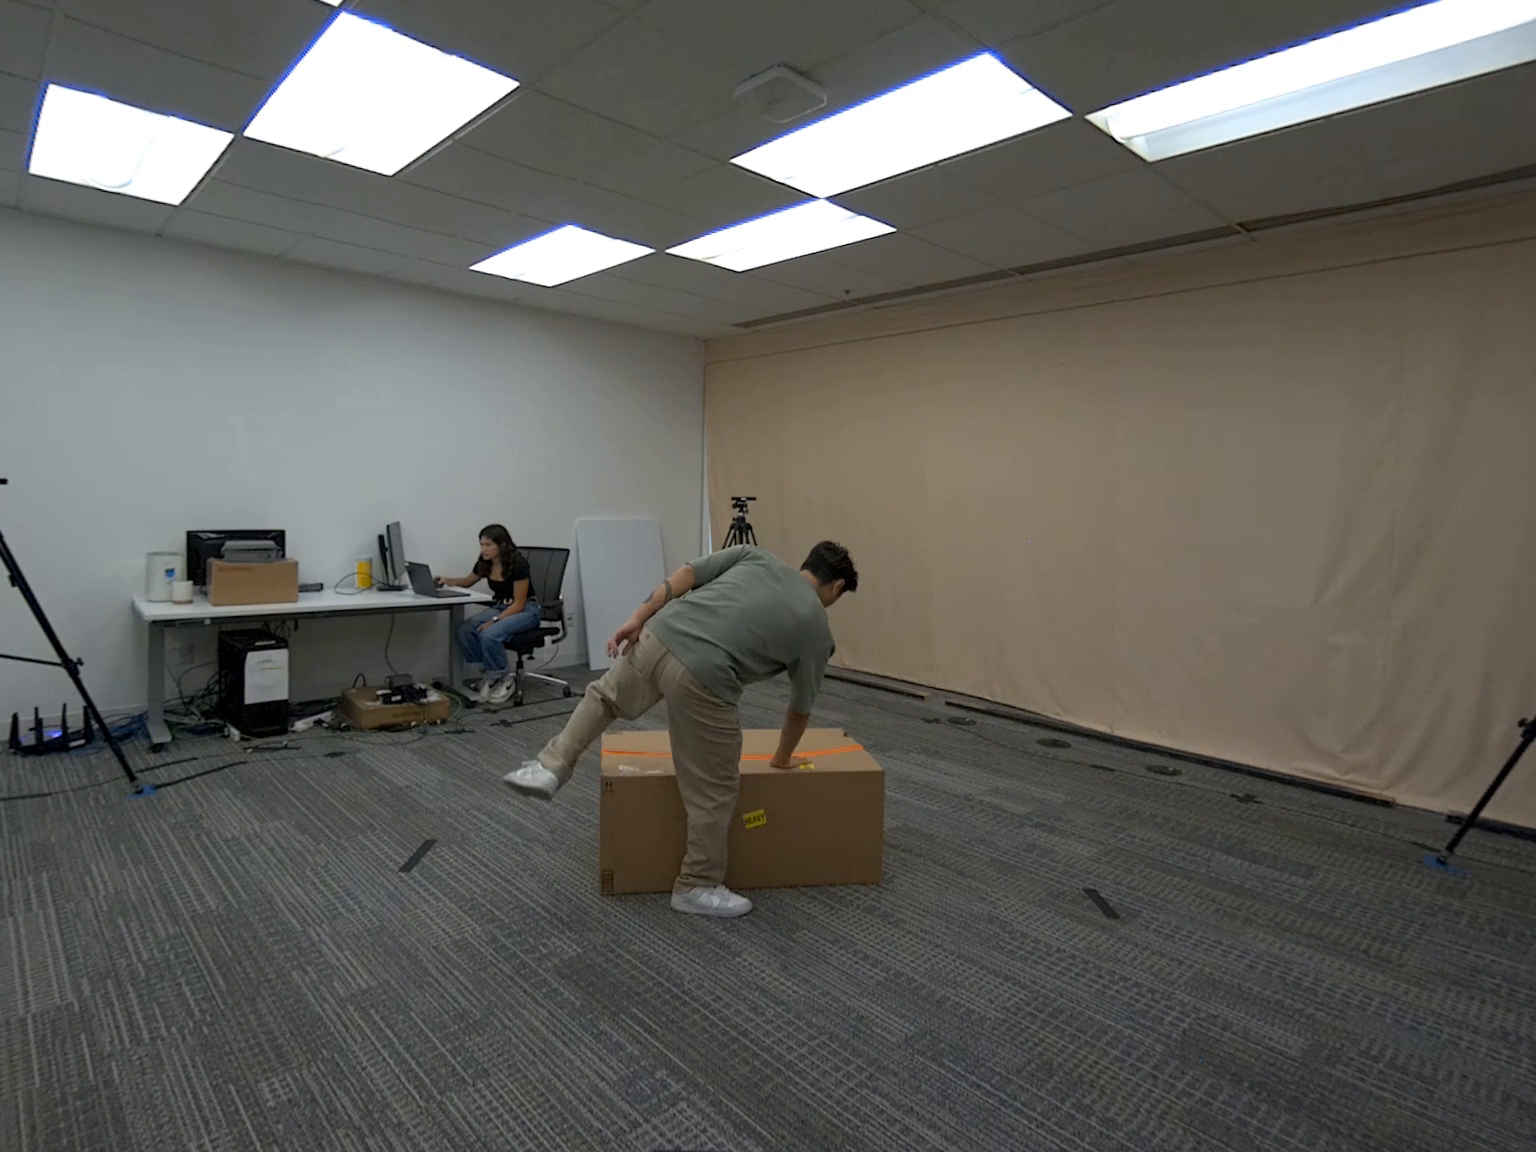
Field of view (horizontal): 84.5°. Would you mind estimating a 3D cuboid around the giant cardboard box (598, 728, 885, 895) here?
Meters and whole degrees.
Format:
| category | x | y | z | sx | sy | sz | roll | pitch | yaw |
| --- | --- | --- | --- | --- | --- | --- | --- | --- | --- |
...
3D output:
| category | x | y | z | sx | sy | sz | roll | pitch | yaw |
| --- | --- | --- | --- | --- | --- | --- | --- | --- | --- |
| giant cardboard box | -0.140 | 0.880 | 3.273 | 1.018 | 0.425 | 0.584 | 1 | 5 | -9 |
